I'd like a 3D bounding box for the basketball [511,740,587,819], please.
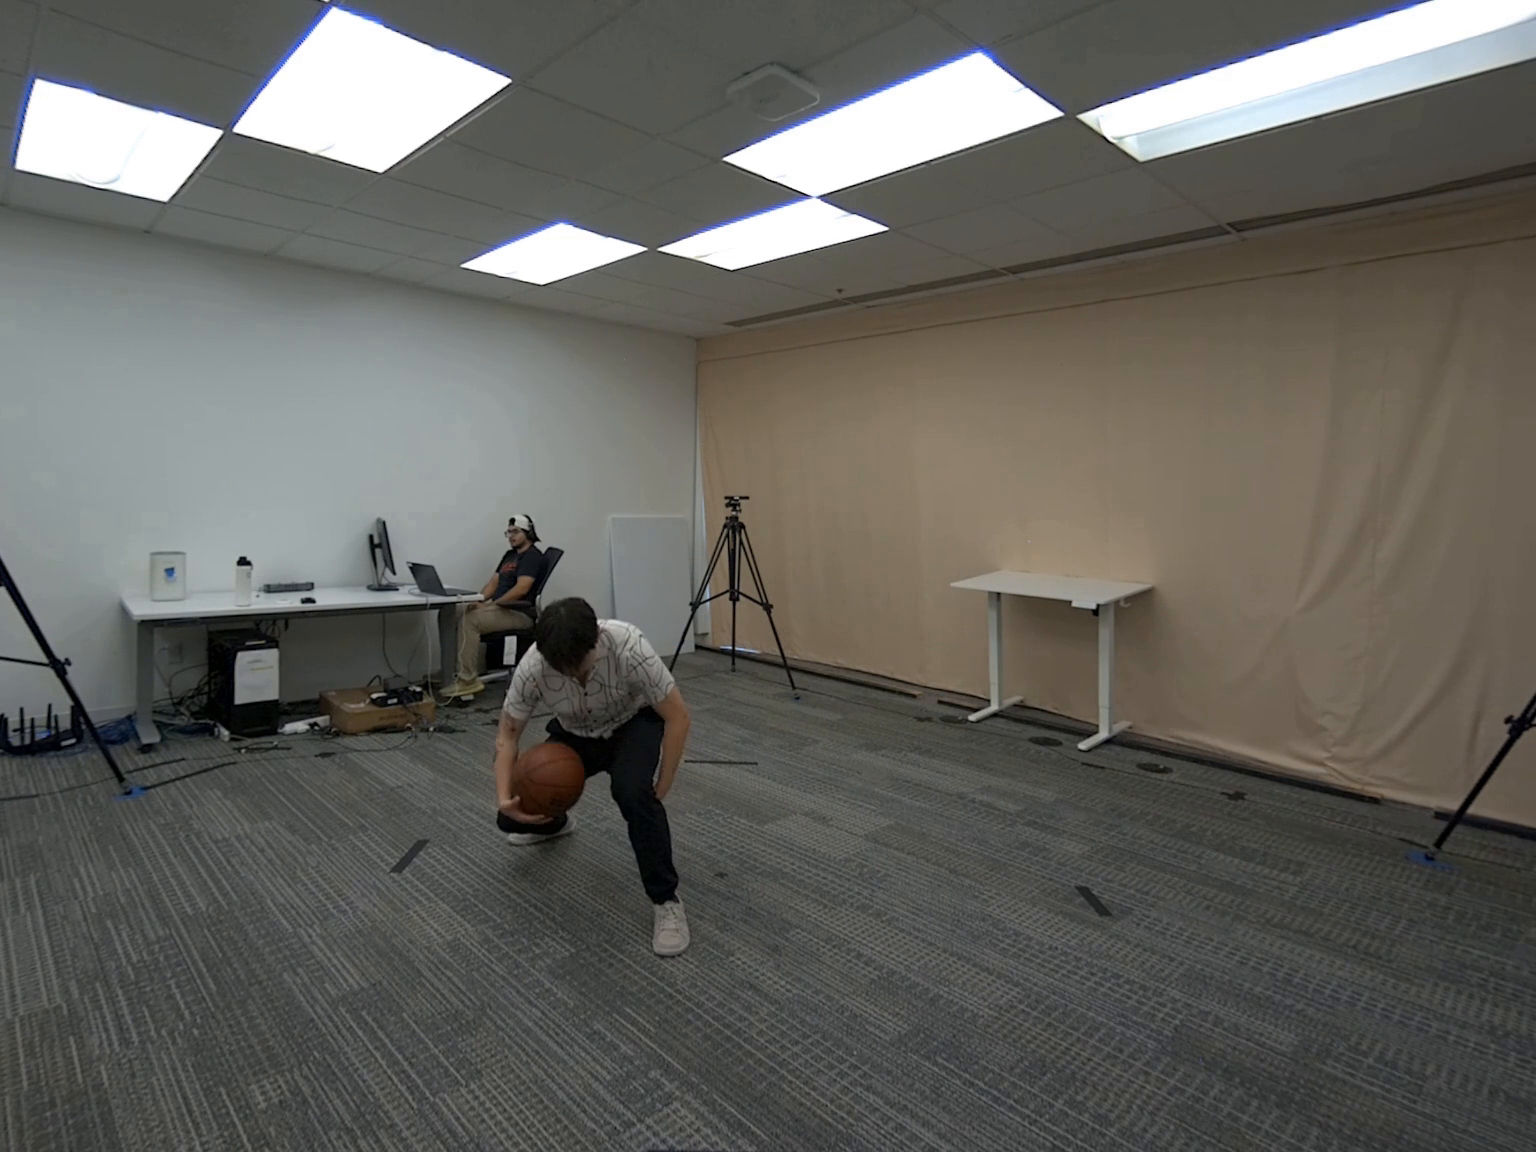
[{"bbox_3d":[-0.737,0.665,2.765,0.236,0.235,0.237,1,4,-1],"label":"basketball"}]
